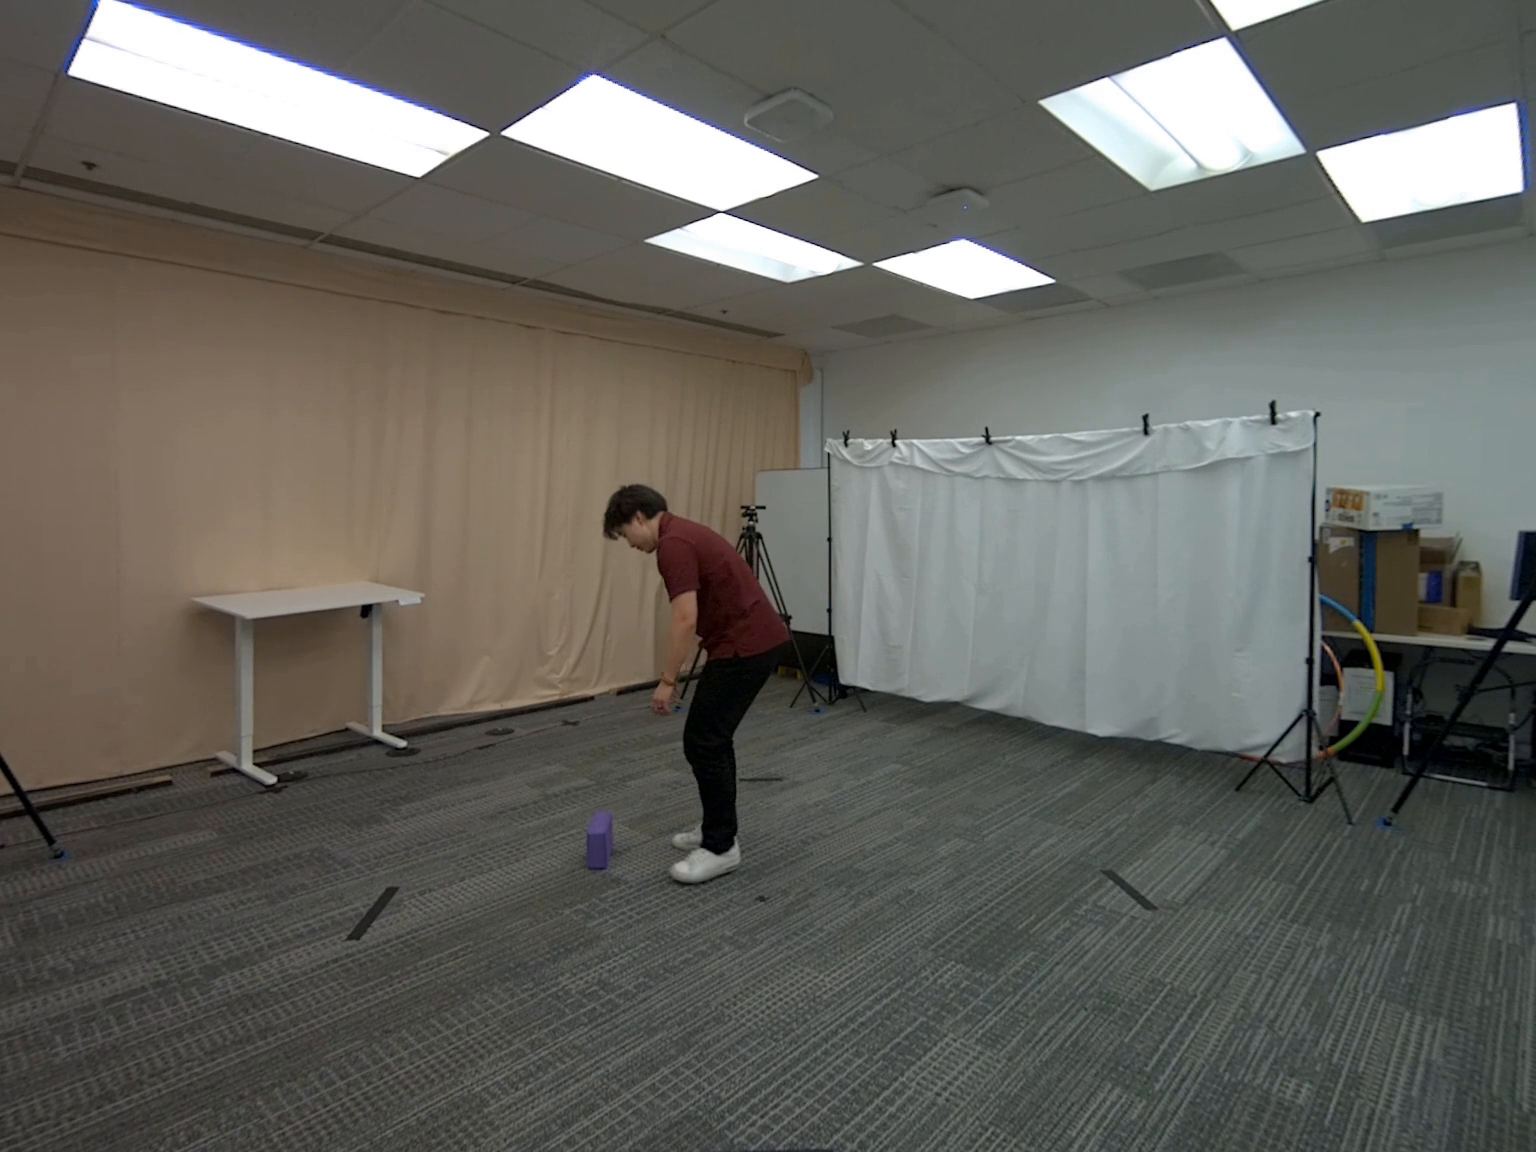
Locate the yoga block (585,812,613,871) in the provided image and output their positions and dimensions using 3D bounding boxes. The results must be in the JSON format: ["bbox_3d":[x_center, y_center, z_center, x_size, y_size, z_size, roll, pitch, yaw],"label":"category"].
[{"bbox_3d":[-0.665,1.044,3.351,0.076,0.149,0.230,-1,4,-4],"label":"yoga block"}]
